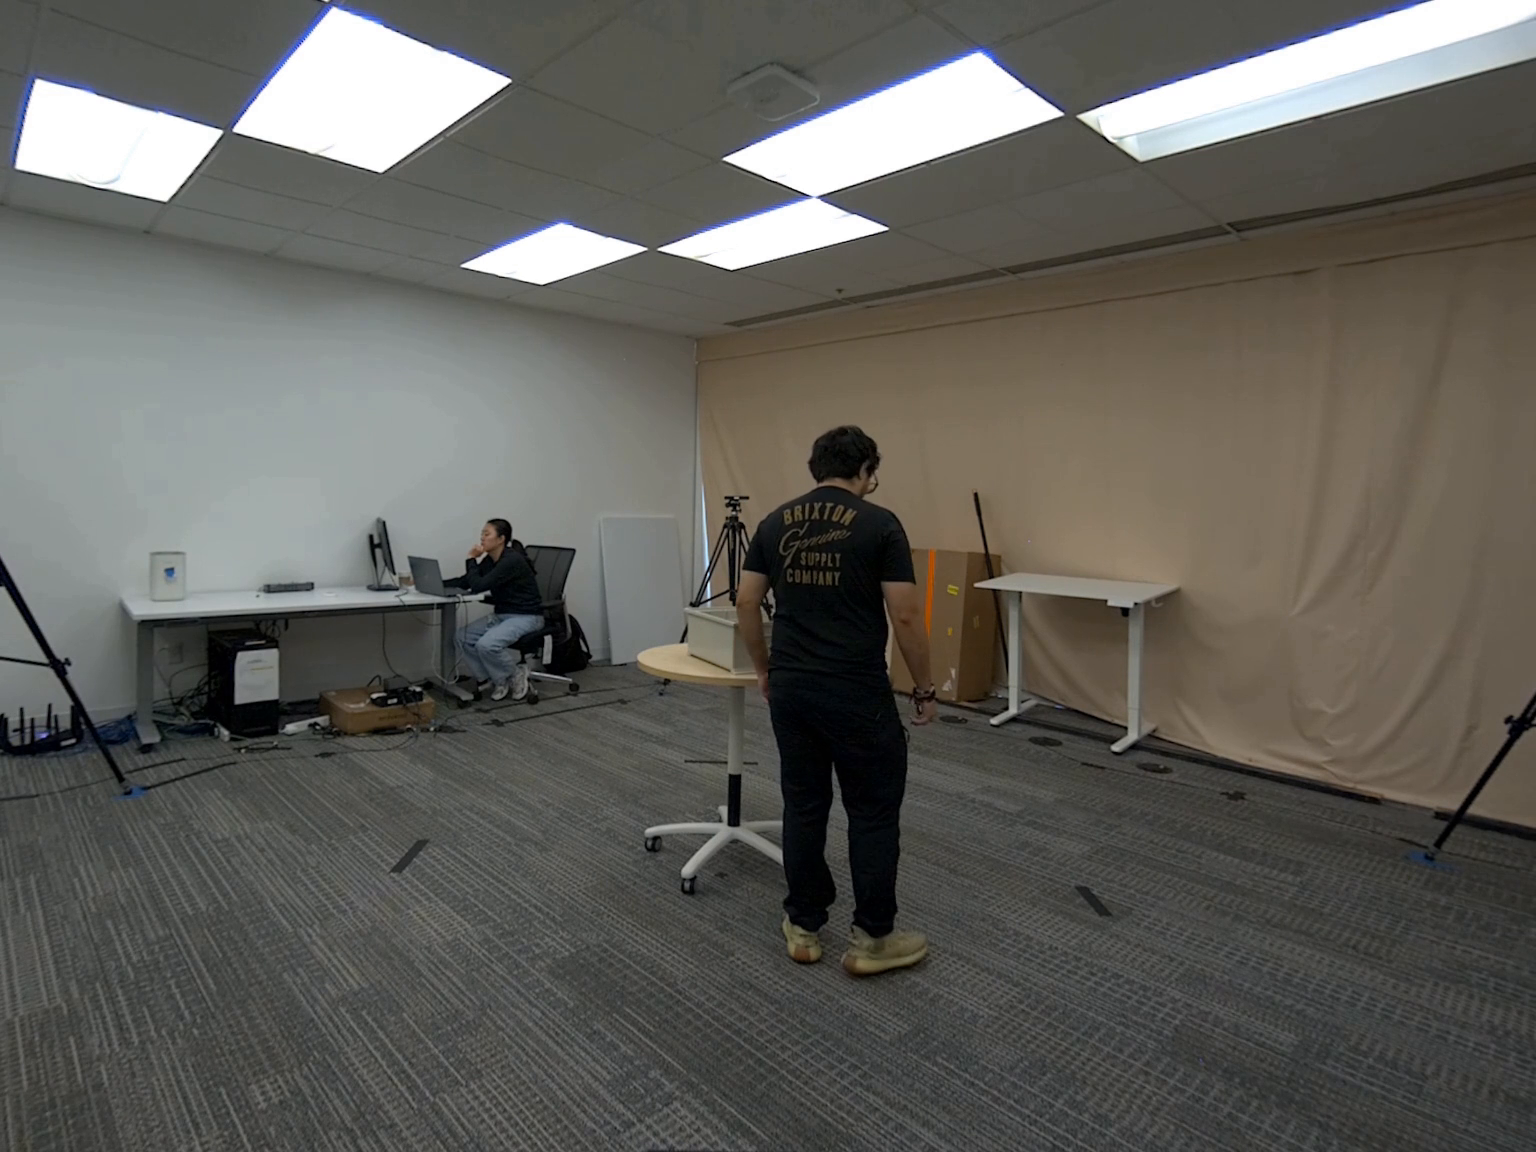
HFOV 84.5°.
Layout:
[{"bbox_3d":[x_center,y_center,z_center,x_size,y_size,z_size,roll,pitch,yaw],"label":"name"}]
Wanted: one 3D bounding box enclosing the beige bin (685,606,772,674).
[{"bbox_3d":[-0.063,0.229,3.132,0.370,0.188,0.432,-3,7,-29],"label":"beige bin"}]
